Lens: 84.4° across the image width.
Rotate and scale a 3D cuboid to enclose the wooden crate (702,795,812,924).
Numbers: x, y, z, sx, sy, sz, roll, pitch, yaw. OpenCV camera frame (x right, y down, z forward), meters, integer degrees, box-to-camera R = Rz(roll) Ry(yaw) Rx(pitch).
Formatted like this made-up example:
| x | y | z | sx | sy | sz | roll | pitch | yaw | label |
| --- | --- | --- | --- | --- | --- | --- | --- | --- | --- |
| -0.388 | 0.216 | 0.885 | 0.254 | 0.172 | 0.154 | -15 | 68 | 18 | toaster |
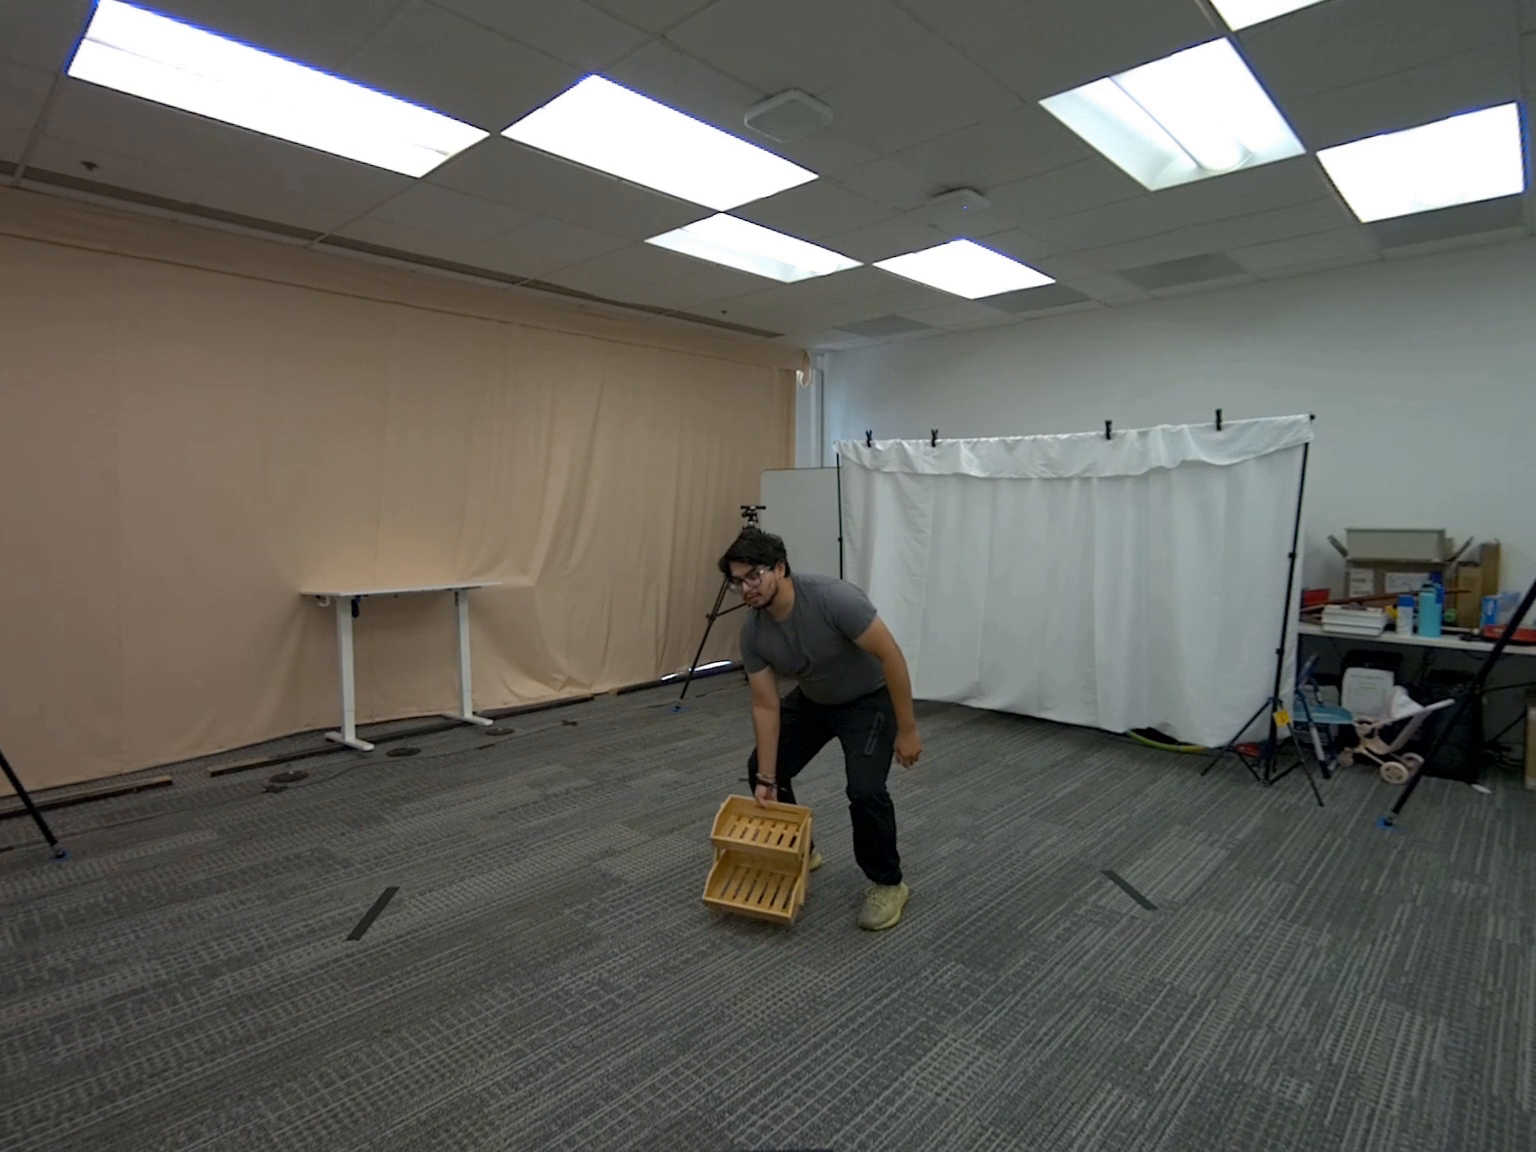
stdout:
| x | y | z | sx | sy | sz | roll | pitch | yaw | label |
| --- | --- | --- | --- | --- | --- | --- | --- | --- | --- |
| -0.030 | 0.951 | 2.824 | 0.331 | 0.271 | 0.299 | 3 | 14 | 17 | wooden crate |
